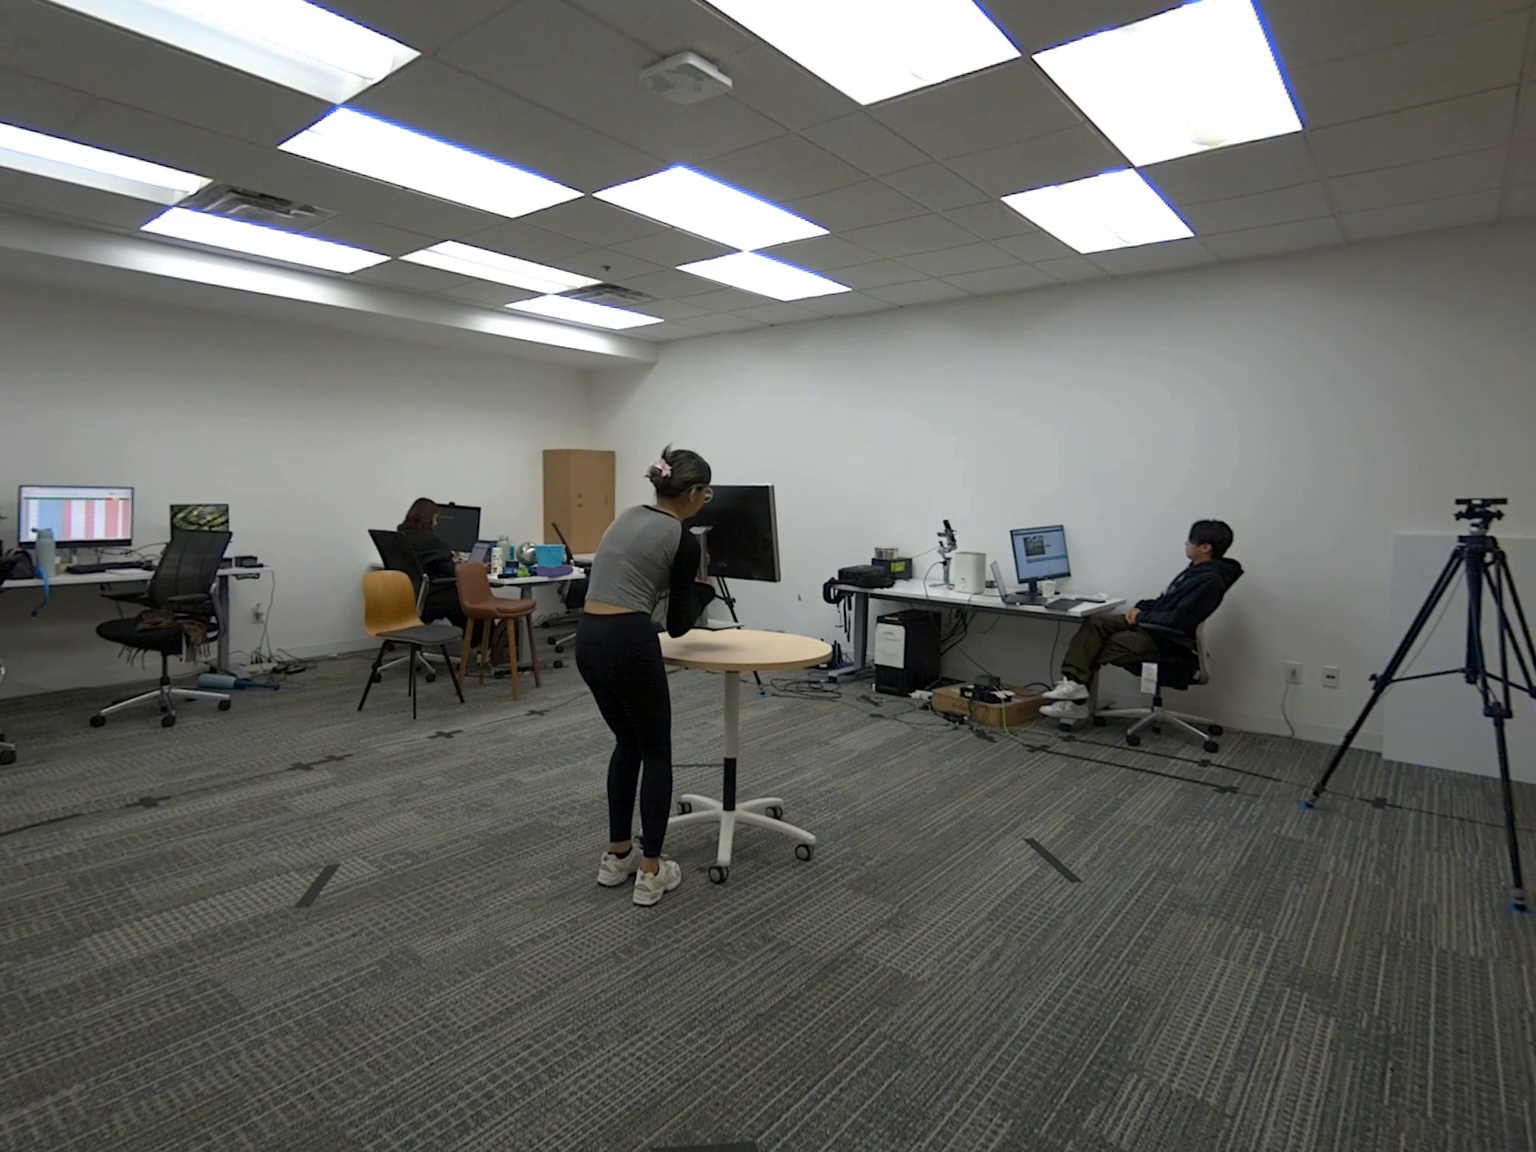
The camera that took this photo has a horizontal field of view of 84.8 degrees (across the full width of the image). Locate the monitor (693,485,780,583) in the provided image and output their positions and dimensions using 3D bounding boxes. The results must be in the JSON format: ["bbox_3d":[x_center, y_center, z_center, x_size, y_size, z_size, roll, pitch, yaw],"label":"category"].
[{"bbox_3d":[-0.232,-0.083,3.222,0.556,0.522,0.181,4,1,35],"label":"monitor"}]
